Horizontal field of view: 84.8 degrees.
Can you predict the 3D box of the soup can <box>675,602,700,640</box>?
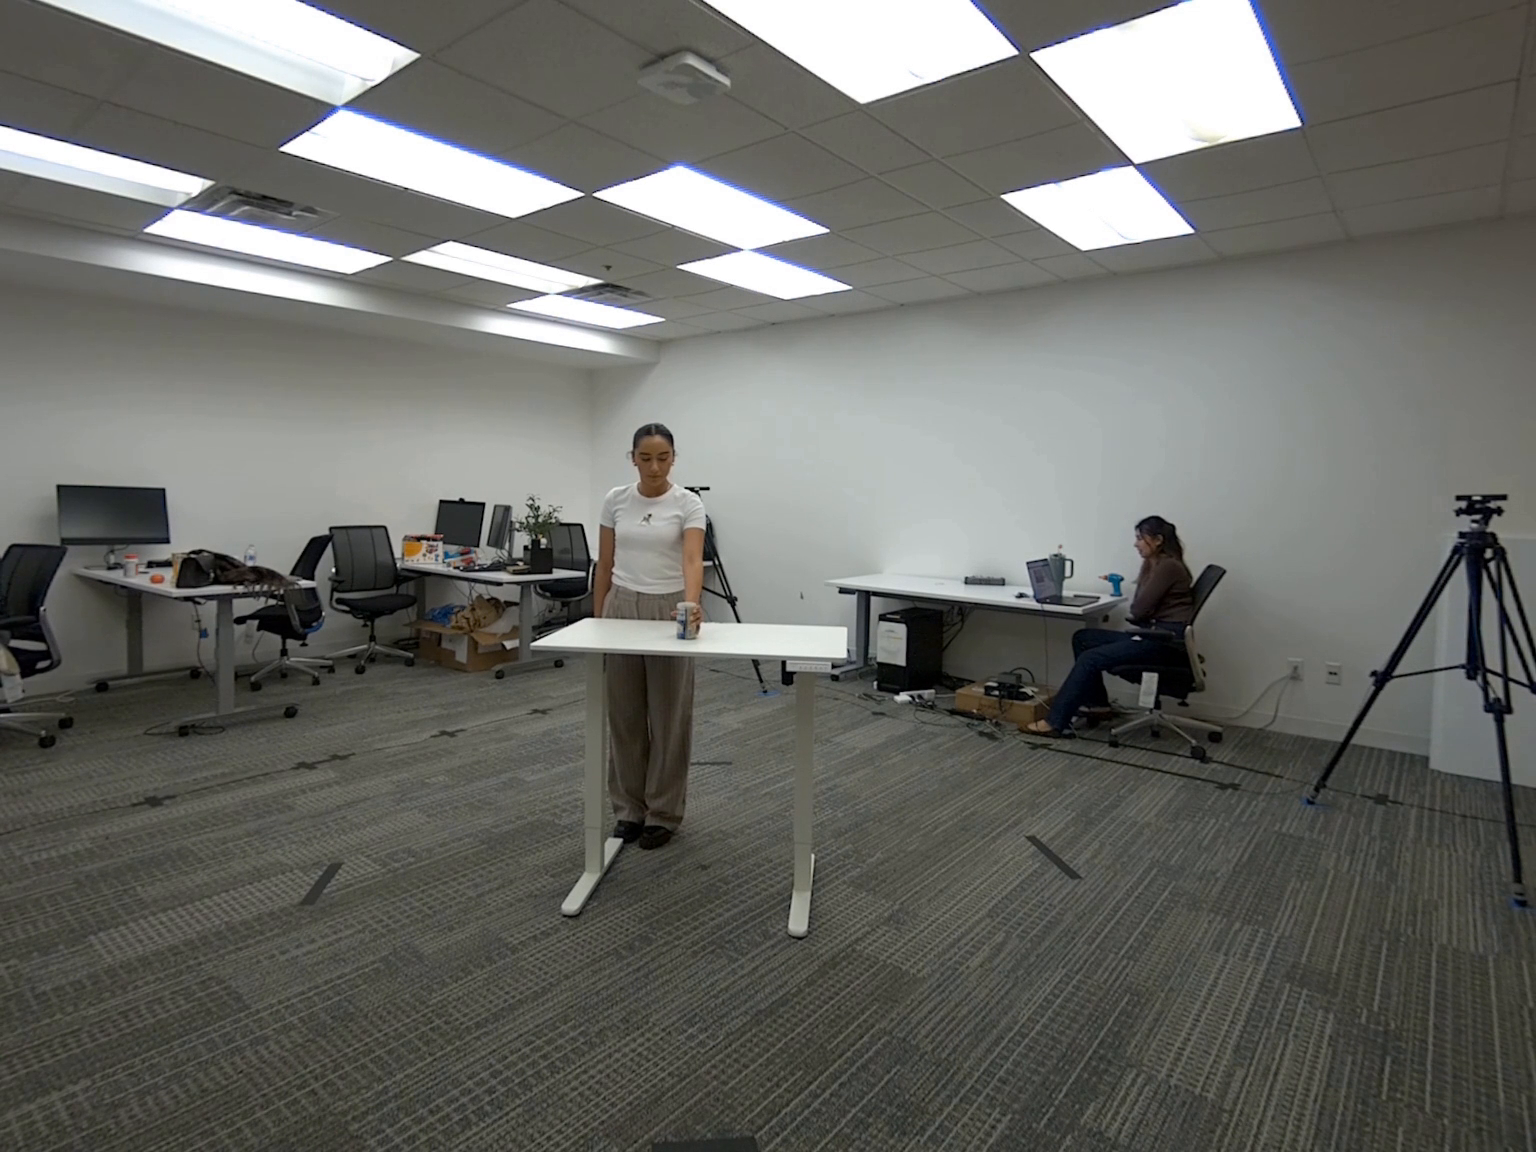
[{"bbox_3d":[-0.287,0.148,2.873,0.067,0.121,0.067,1,4,-2],"label":"soup can"}]
